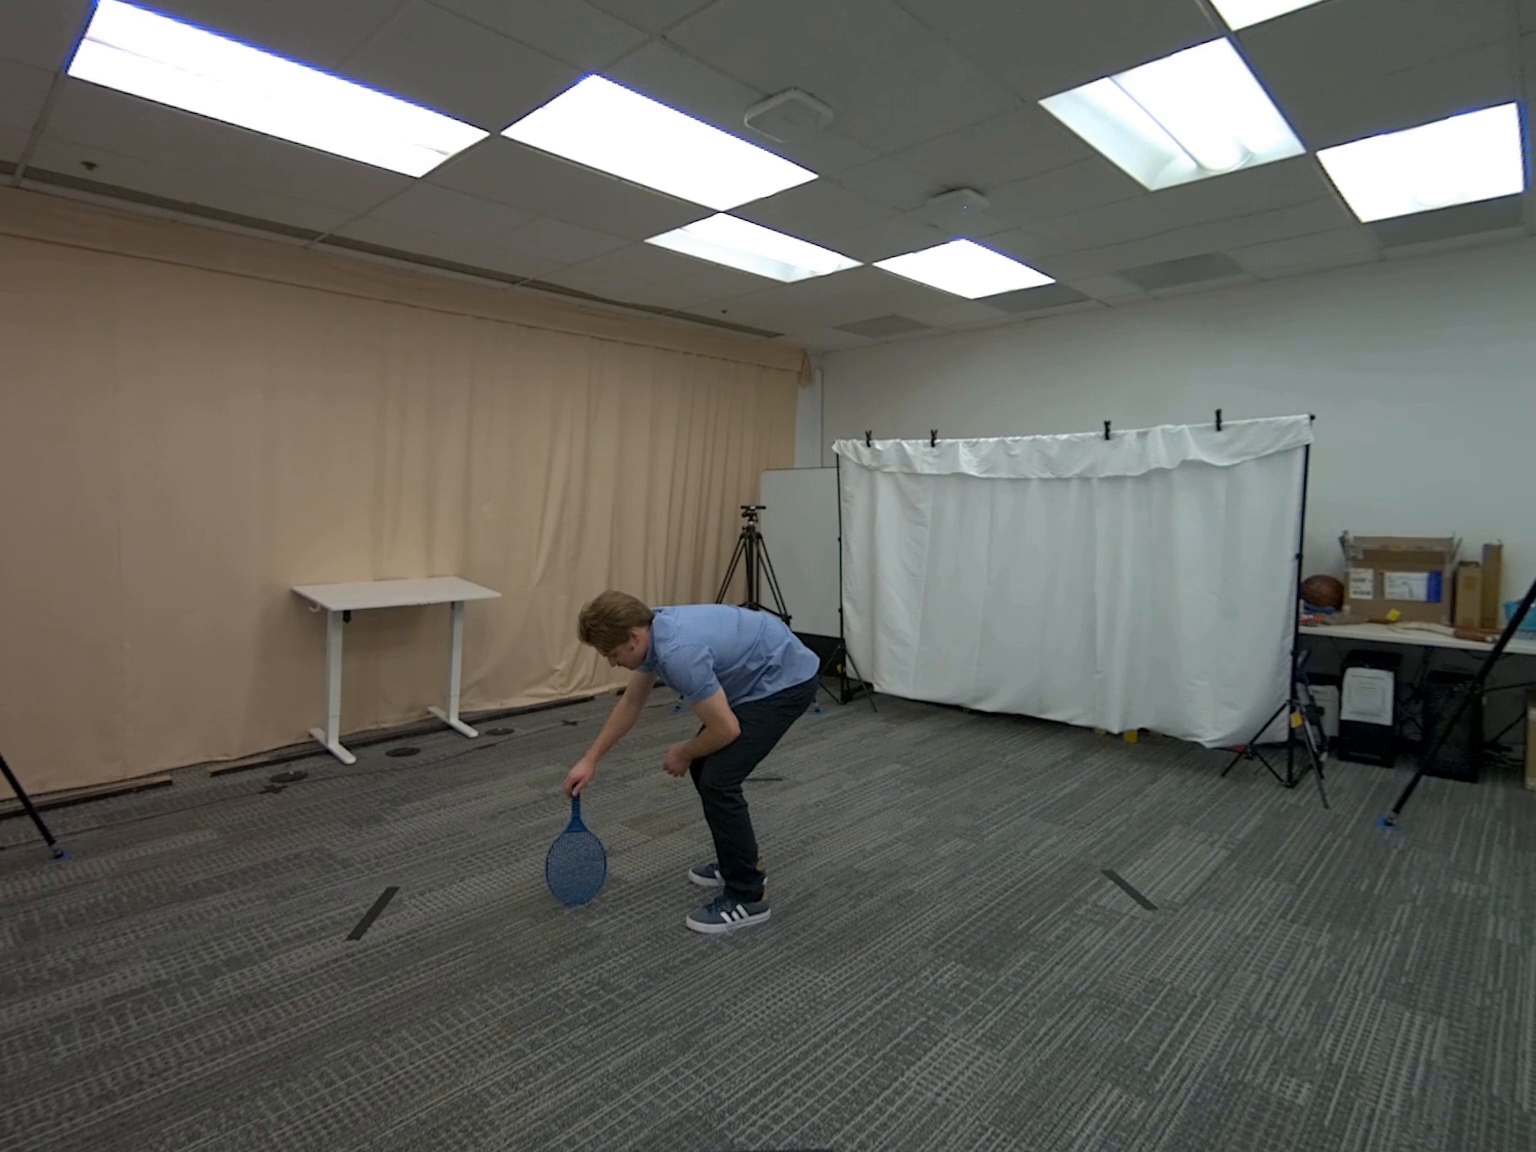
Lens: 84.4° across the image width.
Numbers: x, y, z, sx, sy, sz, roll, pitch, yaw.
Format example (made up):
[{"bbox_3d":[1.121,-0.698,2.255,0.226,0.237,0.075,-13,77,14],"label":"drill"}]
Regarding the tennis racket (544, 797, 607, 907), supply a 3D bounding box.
[{"bbox_3d":[-0.663,0.938,2.946,0.211,0.433,0.032,4,0,-11],"label":"tennis racket"}]
